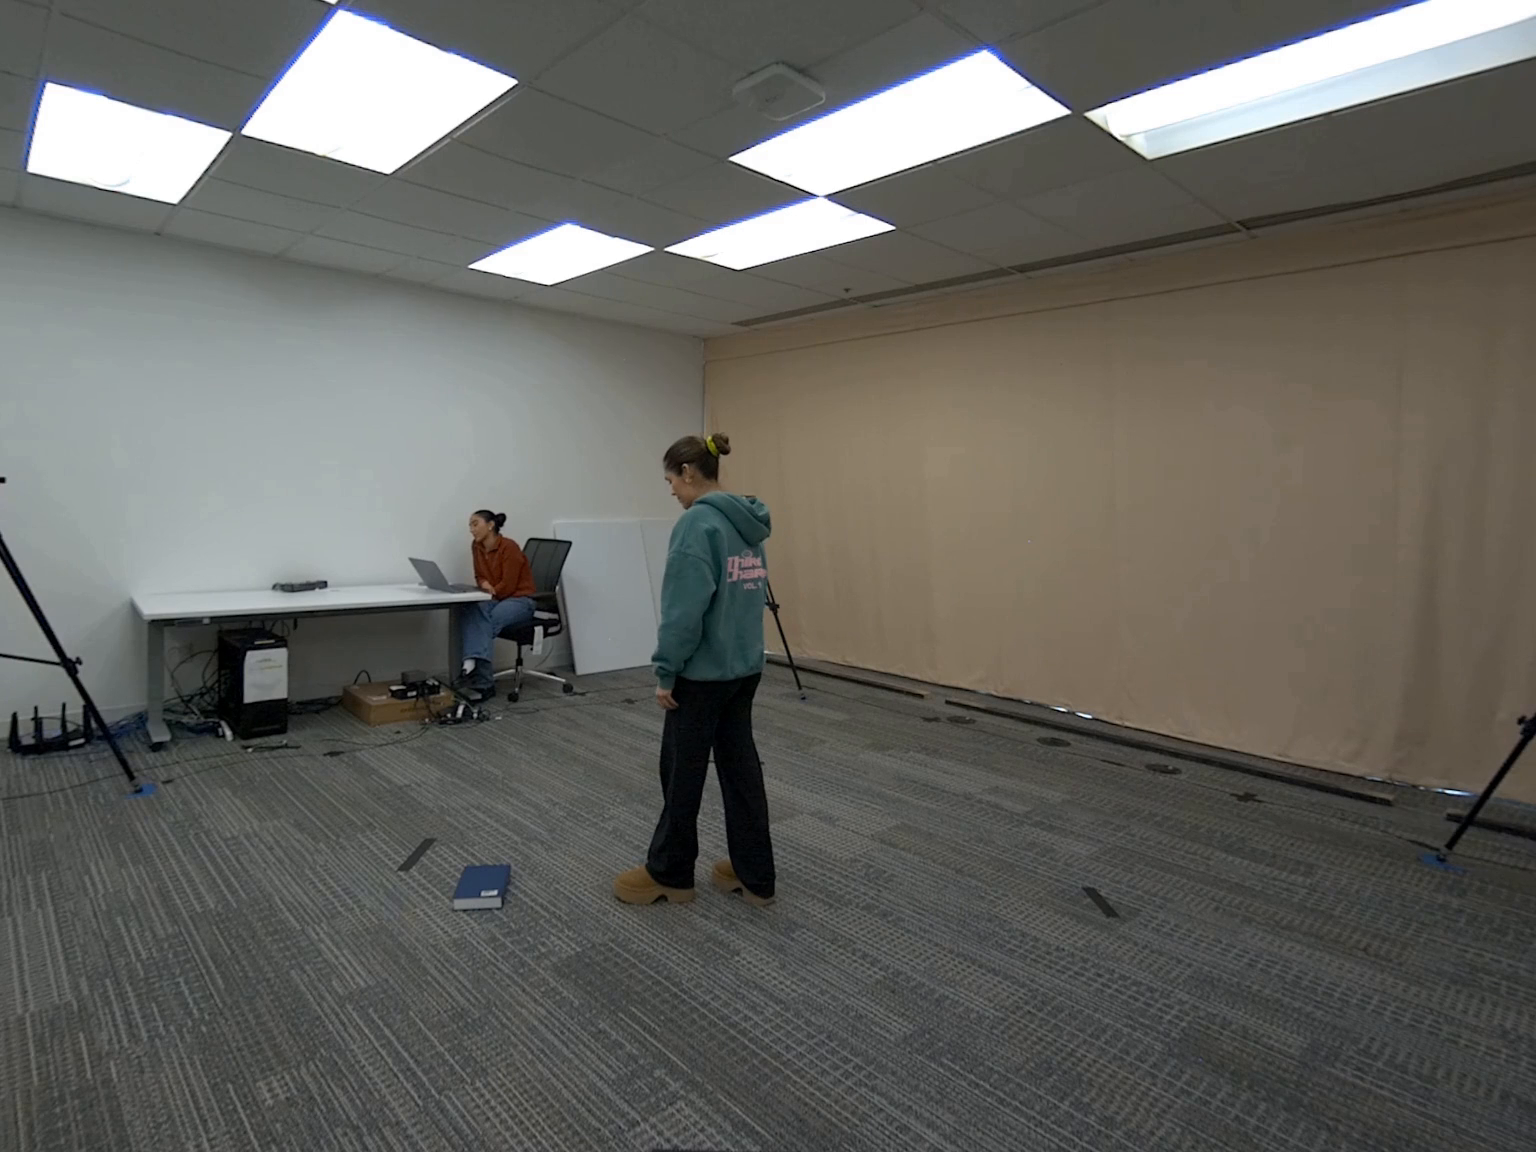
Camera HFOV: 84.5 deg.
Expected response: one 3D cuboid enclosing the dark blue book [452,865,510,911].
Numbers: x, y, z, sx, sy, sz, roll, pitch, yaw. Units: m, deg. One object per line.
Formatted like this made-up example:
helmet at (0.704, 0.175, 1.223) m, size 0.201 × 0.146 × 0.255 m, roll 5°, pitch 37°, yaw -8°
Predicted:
dark blue book at (-0.987, 1.070, 2.918) m, size 0.162 × 0.045 × 0.248 m, roll 0°, pitch 6°, yaw -10°
